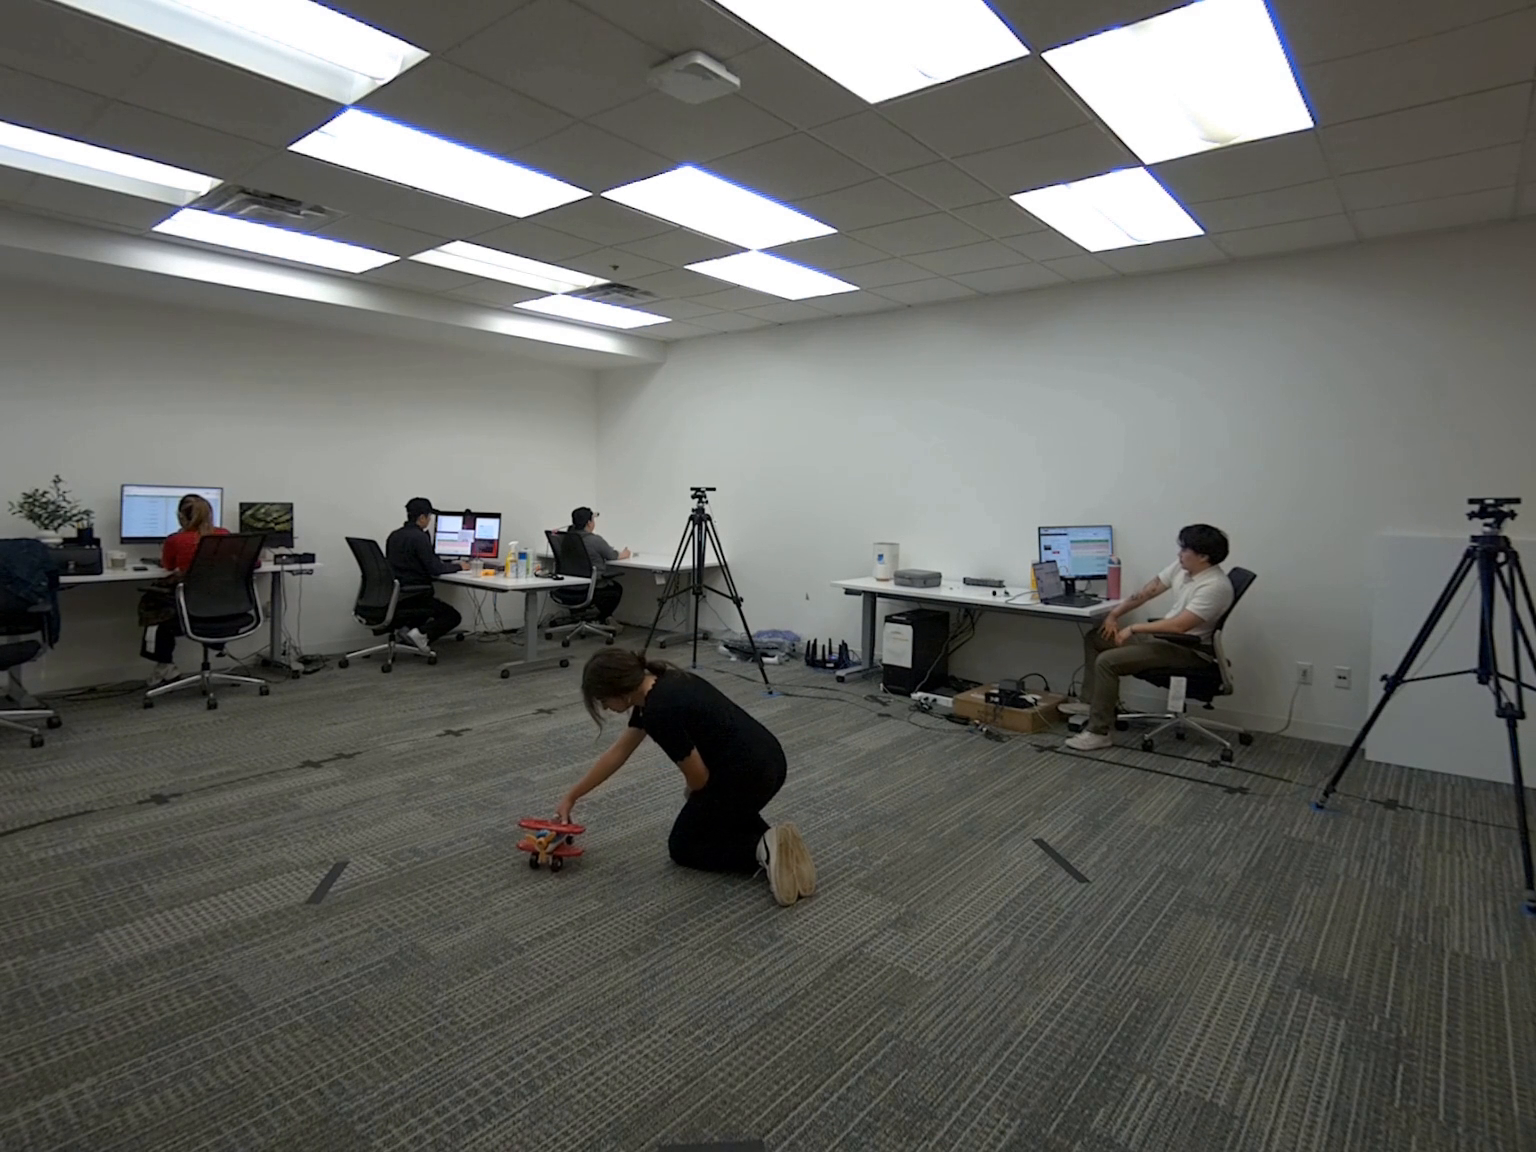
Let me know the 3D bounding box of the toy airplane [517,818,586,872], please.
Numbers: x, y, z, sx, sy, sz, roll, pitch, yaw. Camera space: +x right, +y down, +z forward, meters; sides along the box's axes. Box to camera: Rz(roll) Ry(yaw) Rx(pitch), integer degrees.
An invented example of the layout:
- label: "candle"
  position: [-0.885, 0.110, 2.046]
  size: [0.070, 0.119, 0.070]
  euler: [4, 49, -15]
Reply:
- label: "toy airplane"
  position: [-0.823, 0.971, 3.158]
  size: [0.247, 0.154, 0.267]
  euler: [-3, 14, -18]
